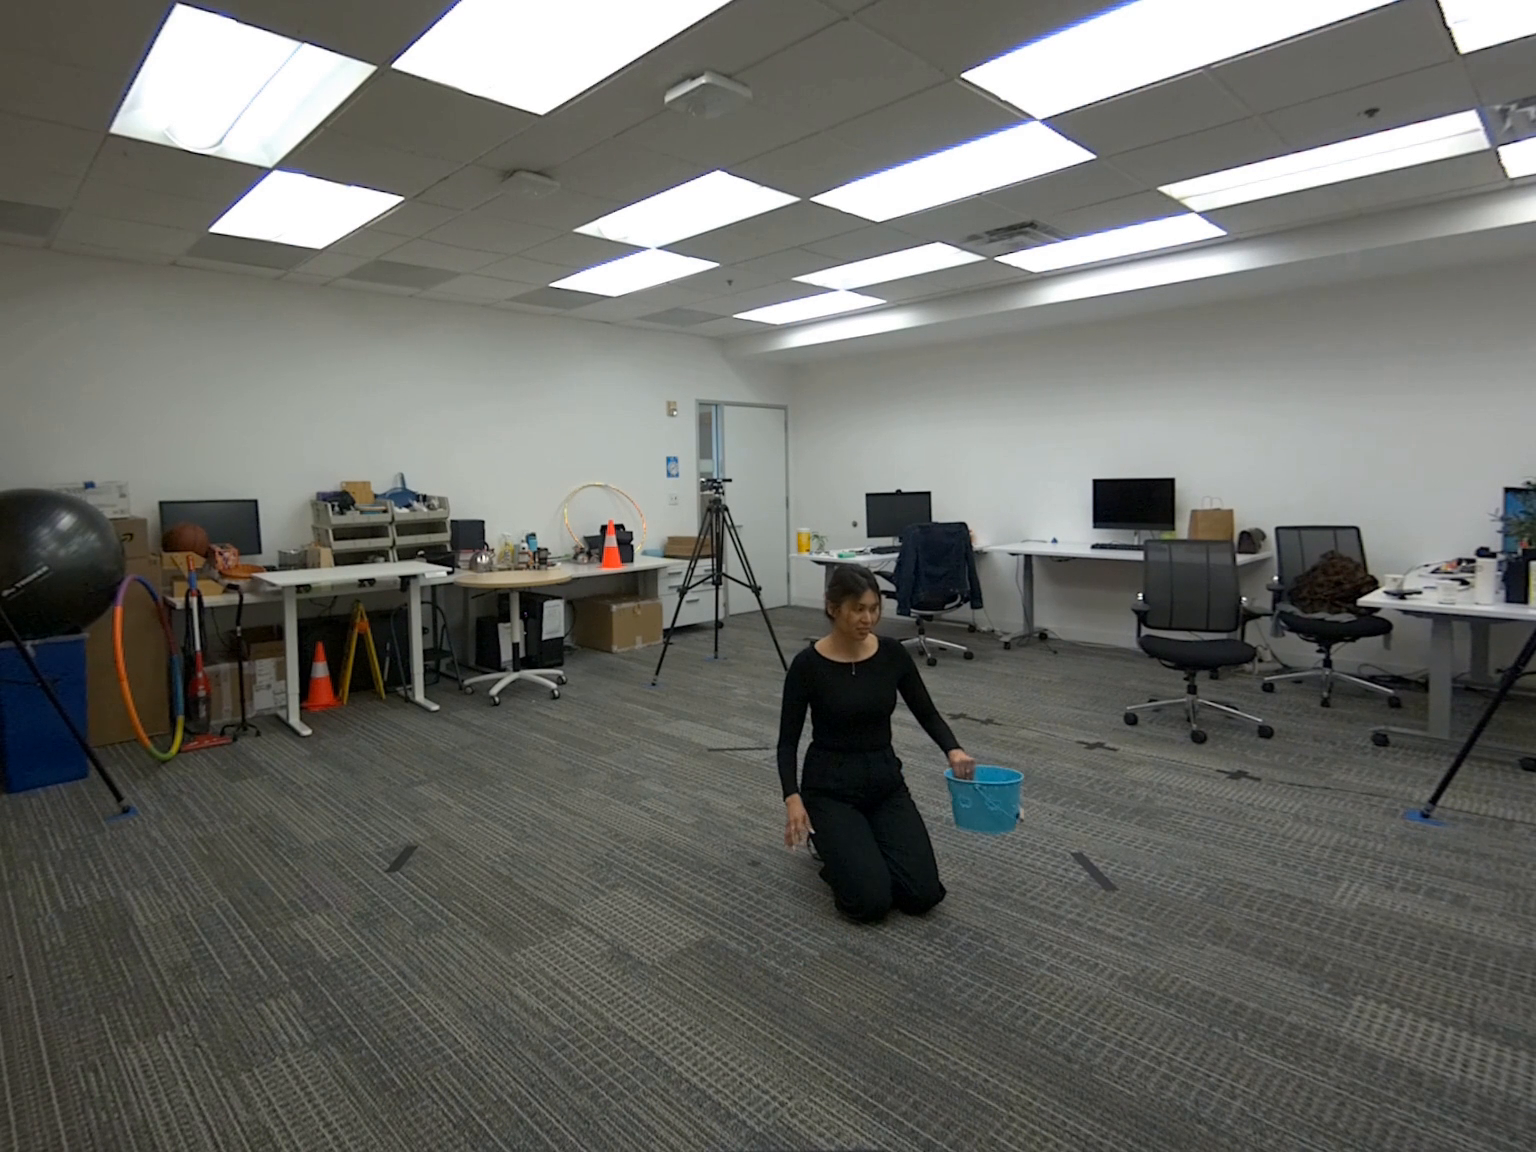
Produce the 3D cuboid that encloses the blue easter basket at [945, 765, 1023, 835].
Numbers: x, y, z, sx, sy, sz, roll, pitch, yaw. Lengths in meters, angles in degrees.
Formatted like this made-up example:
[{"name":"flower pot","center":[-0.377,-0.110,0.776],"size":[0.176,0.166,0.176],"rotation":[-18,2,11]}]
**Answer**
[{"name":"blue easter basket","center":[0.667,0.686,2.614],"size":[0.243,0.156,0.244],"rotation":[-2,1,-2]}]
